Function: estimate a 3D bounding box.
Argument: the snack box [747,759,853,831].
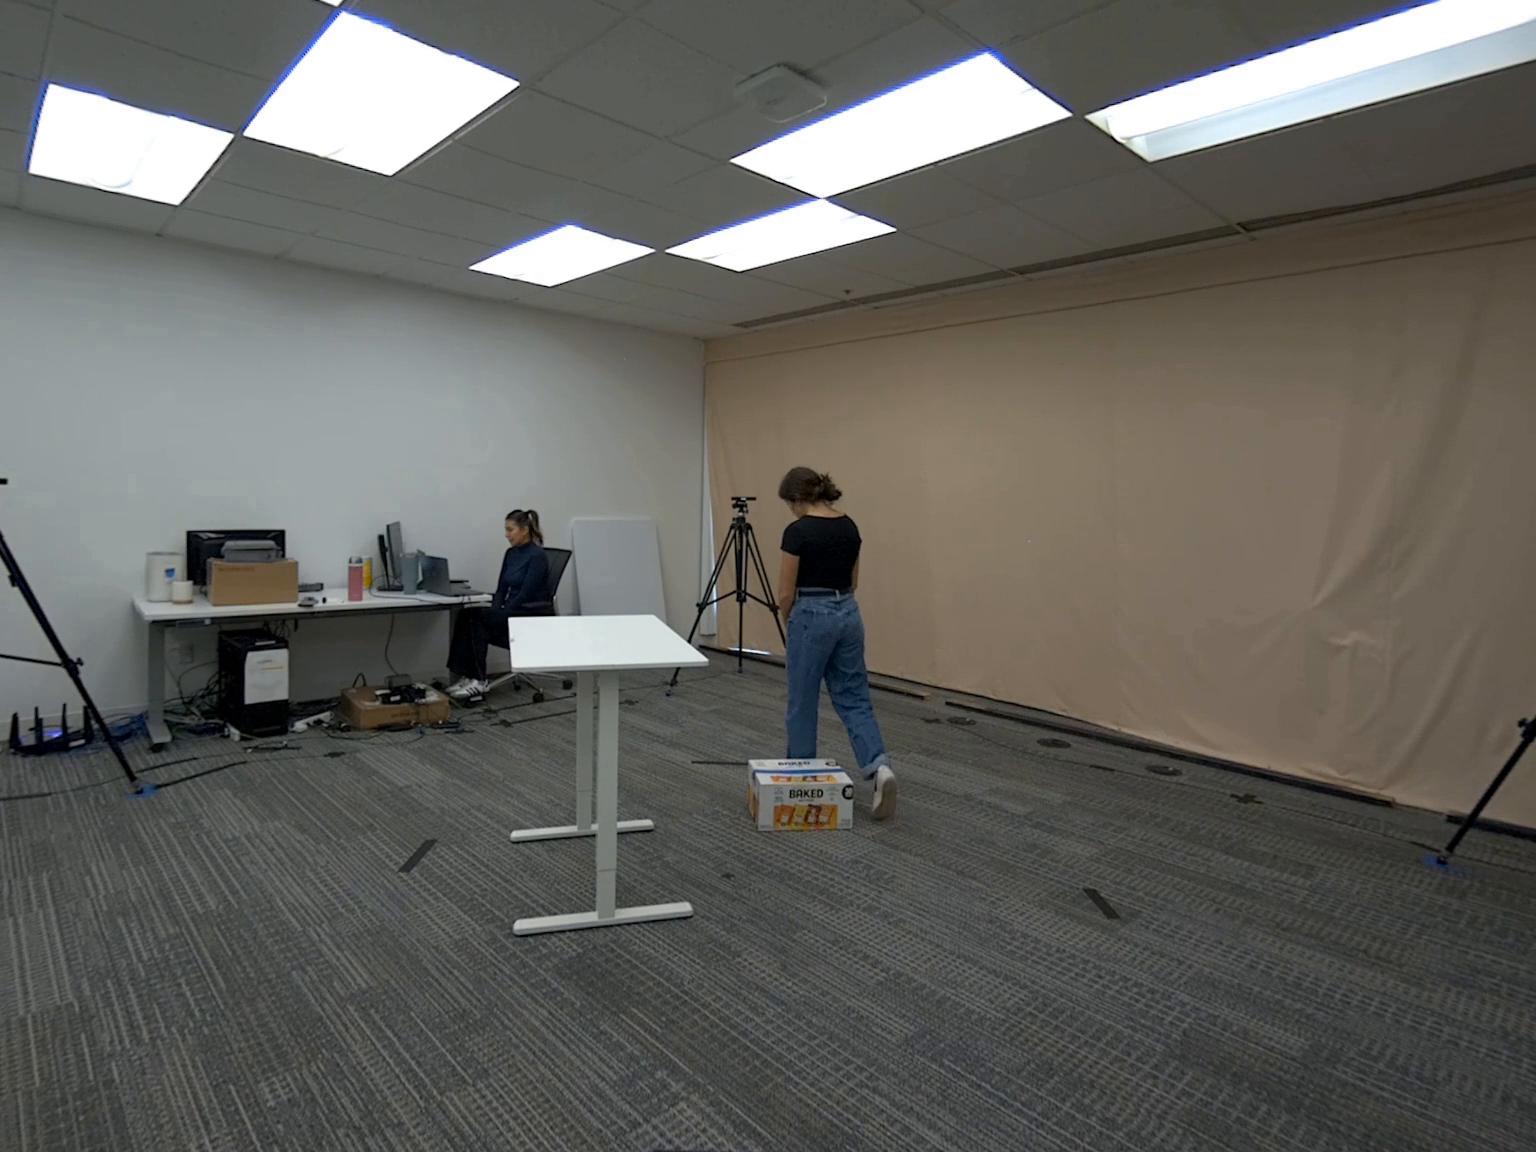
[{"bbox_3d":[0.124,0.959,3.717,0.402,0.205,0.343,1,4,-9],"label":"snack box"}]
